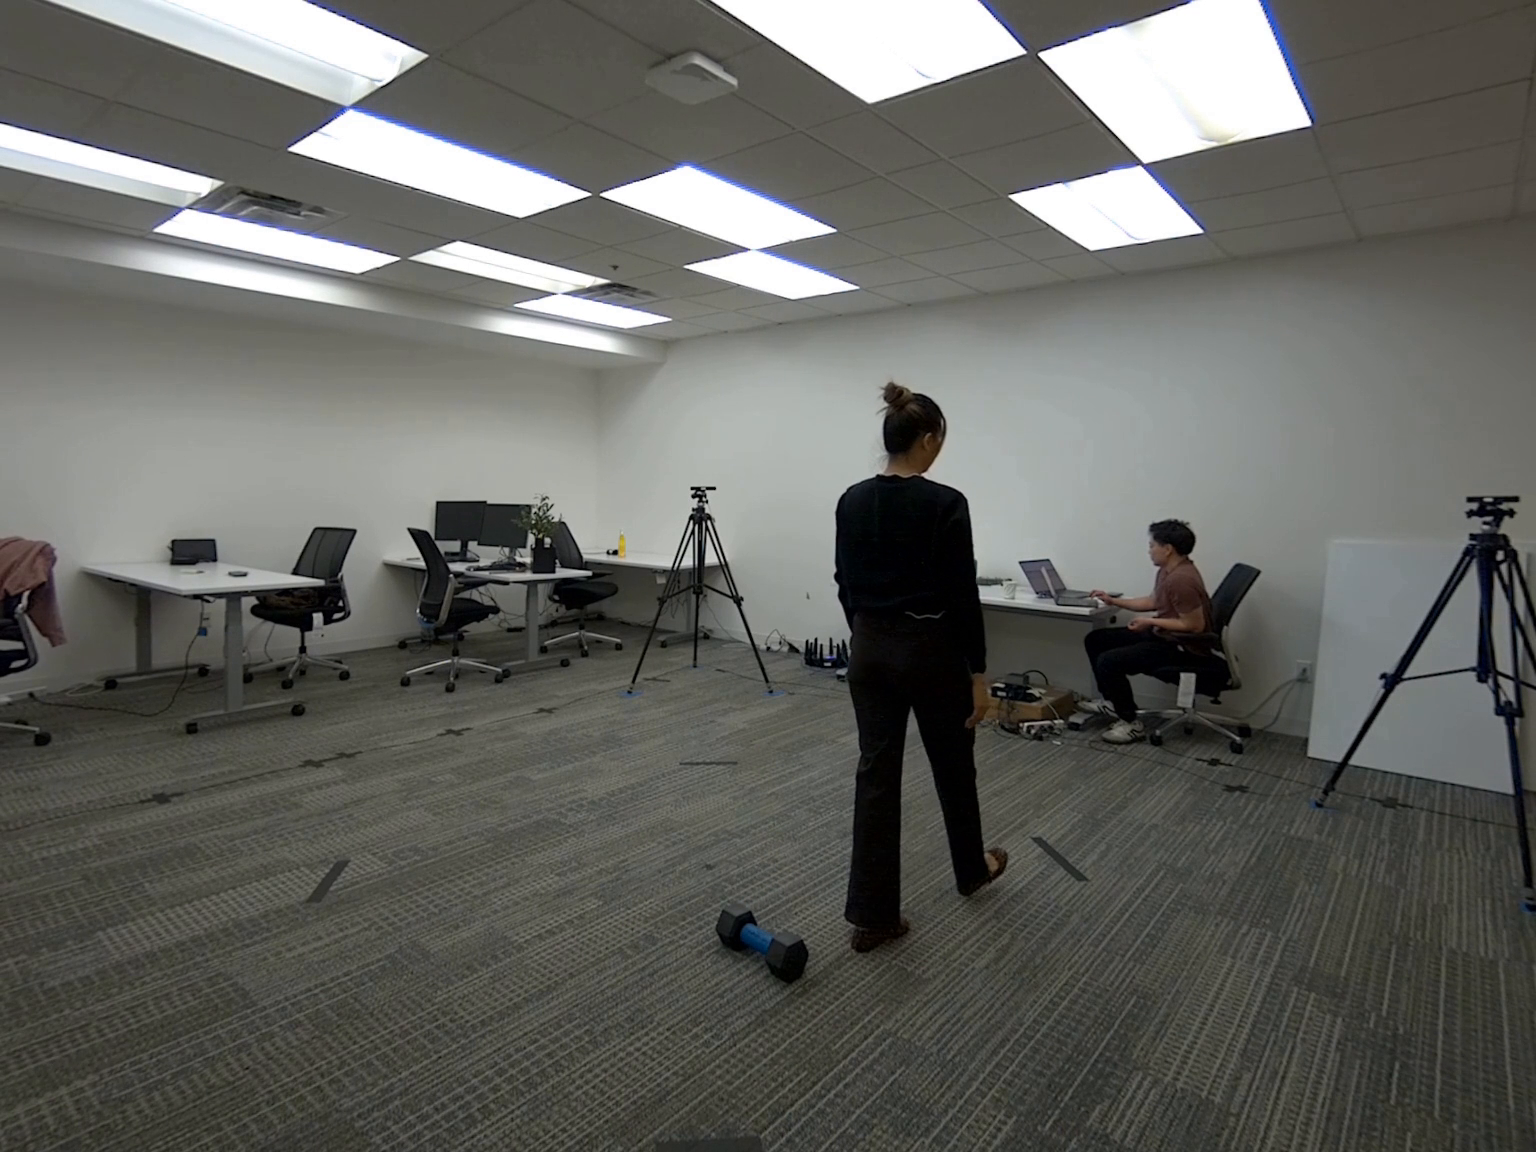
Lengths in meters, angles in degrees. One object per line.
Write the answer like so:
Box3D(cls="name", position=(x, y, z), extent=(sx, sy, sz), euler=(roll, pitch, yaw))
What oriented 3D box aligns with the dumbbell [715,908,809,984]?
Box3D(cls="dumbbell", position=(-0.029, 1.075, 2.506), extent=(0.304, 0.119, 0.108), euler=(6, 38, 45))
